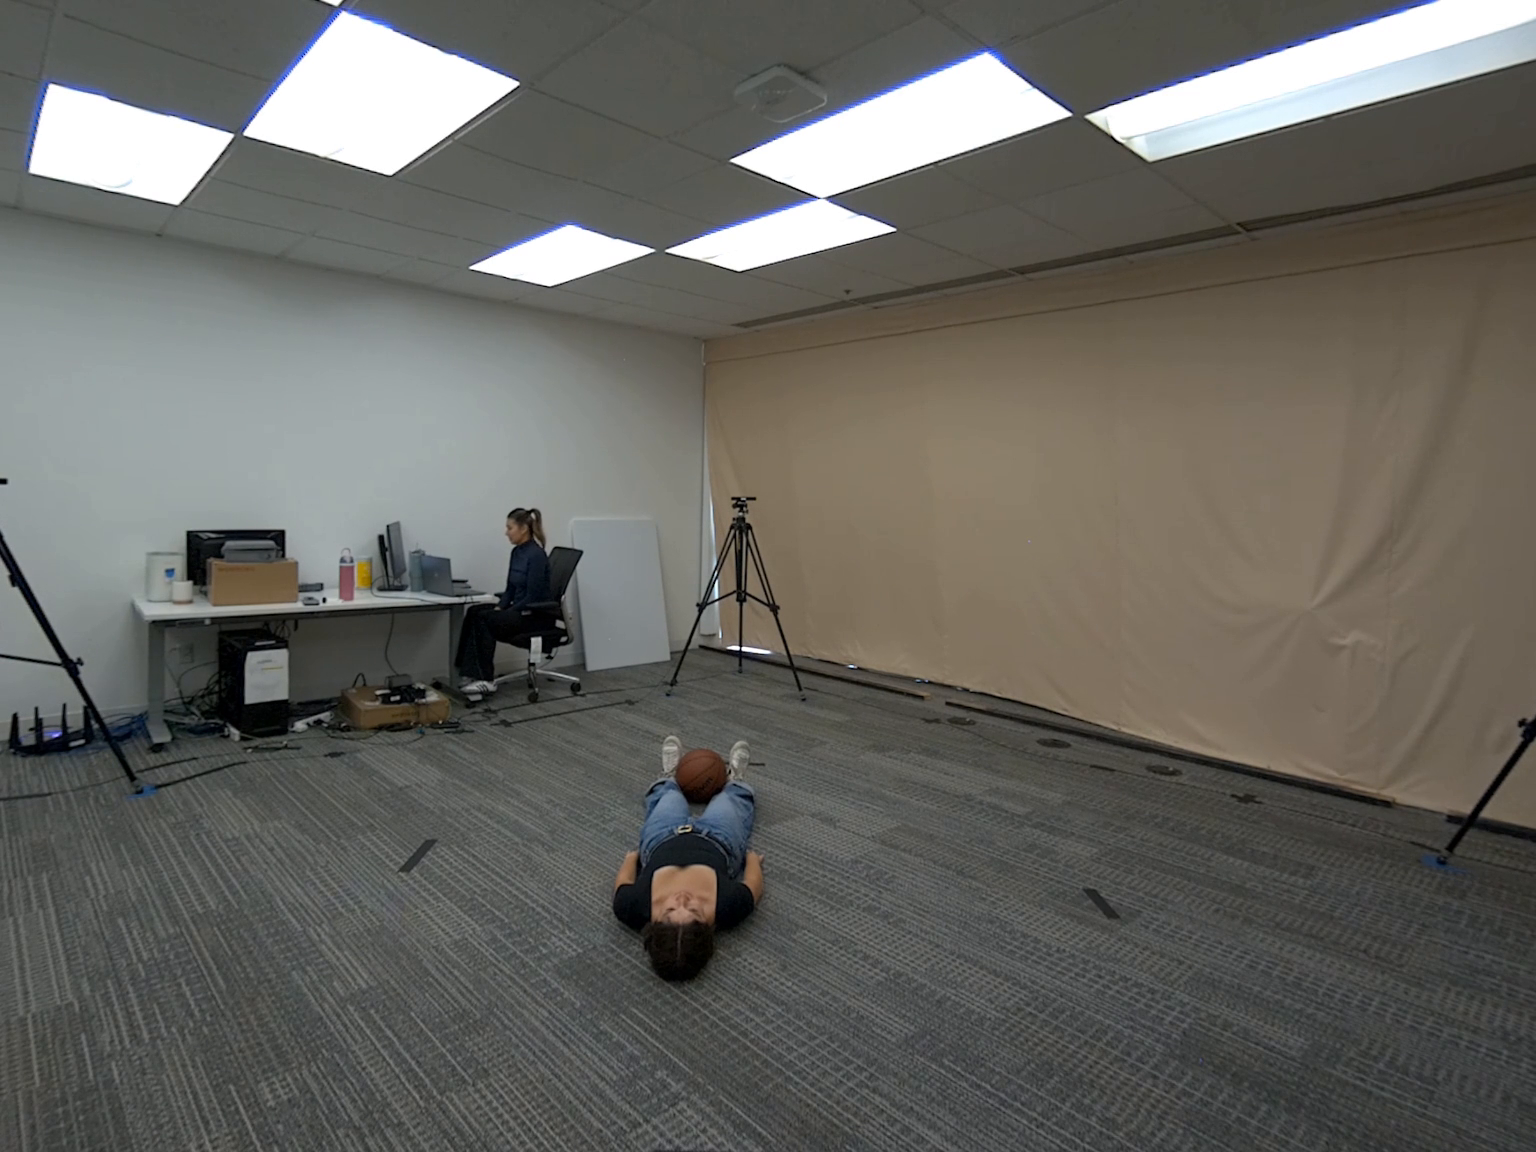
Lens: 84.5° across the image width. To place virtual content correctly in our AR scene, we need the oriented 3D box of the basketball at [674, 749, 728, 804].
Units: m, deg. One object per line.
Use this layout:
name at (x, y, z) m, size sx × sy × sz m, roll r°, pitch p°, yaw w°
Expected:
basketball at (-0.317, 0.915, 3.879) m, size 0.236 × 0.235 × 0.237 m, roll 1°, pitch 4°, yaw -1°
